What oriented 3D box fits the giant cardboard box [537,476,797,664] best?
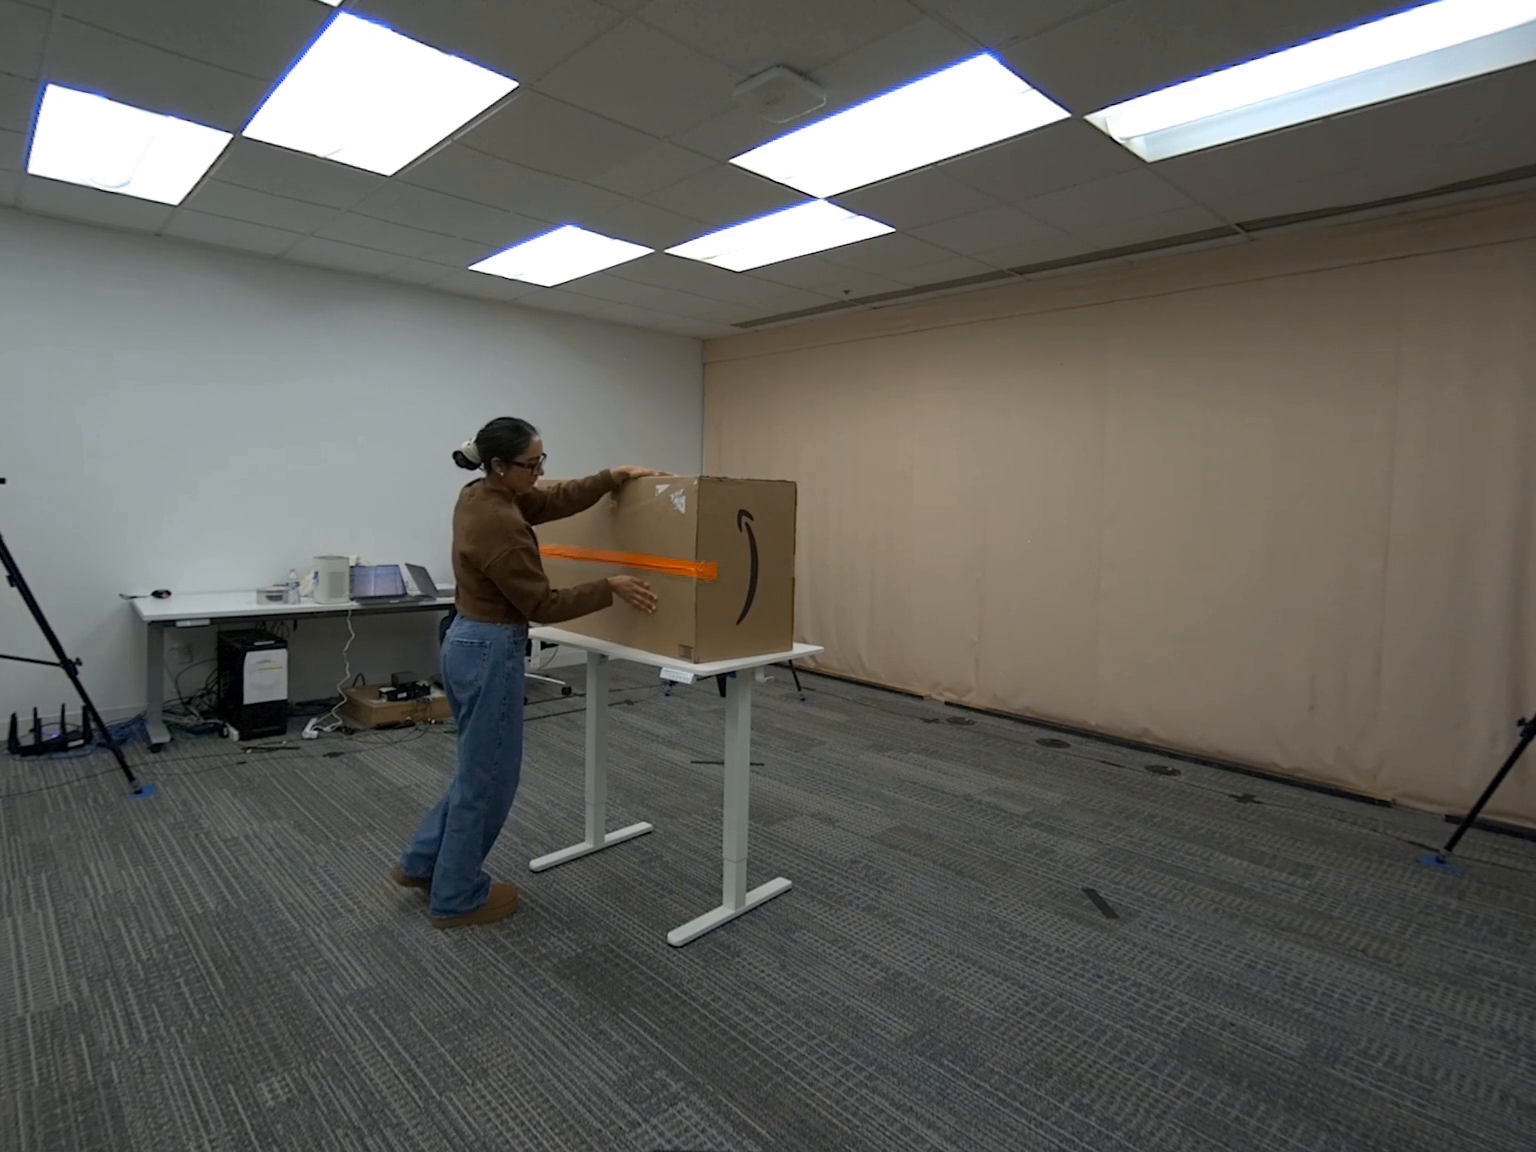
[{"bbox_3d":[-0.415,-0.058,3.076,0.416,0.576,1.052,0,4,-42],"label":"giant cardboard box"}]
